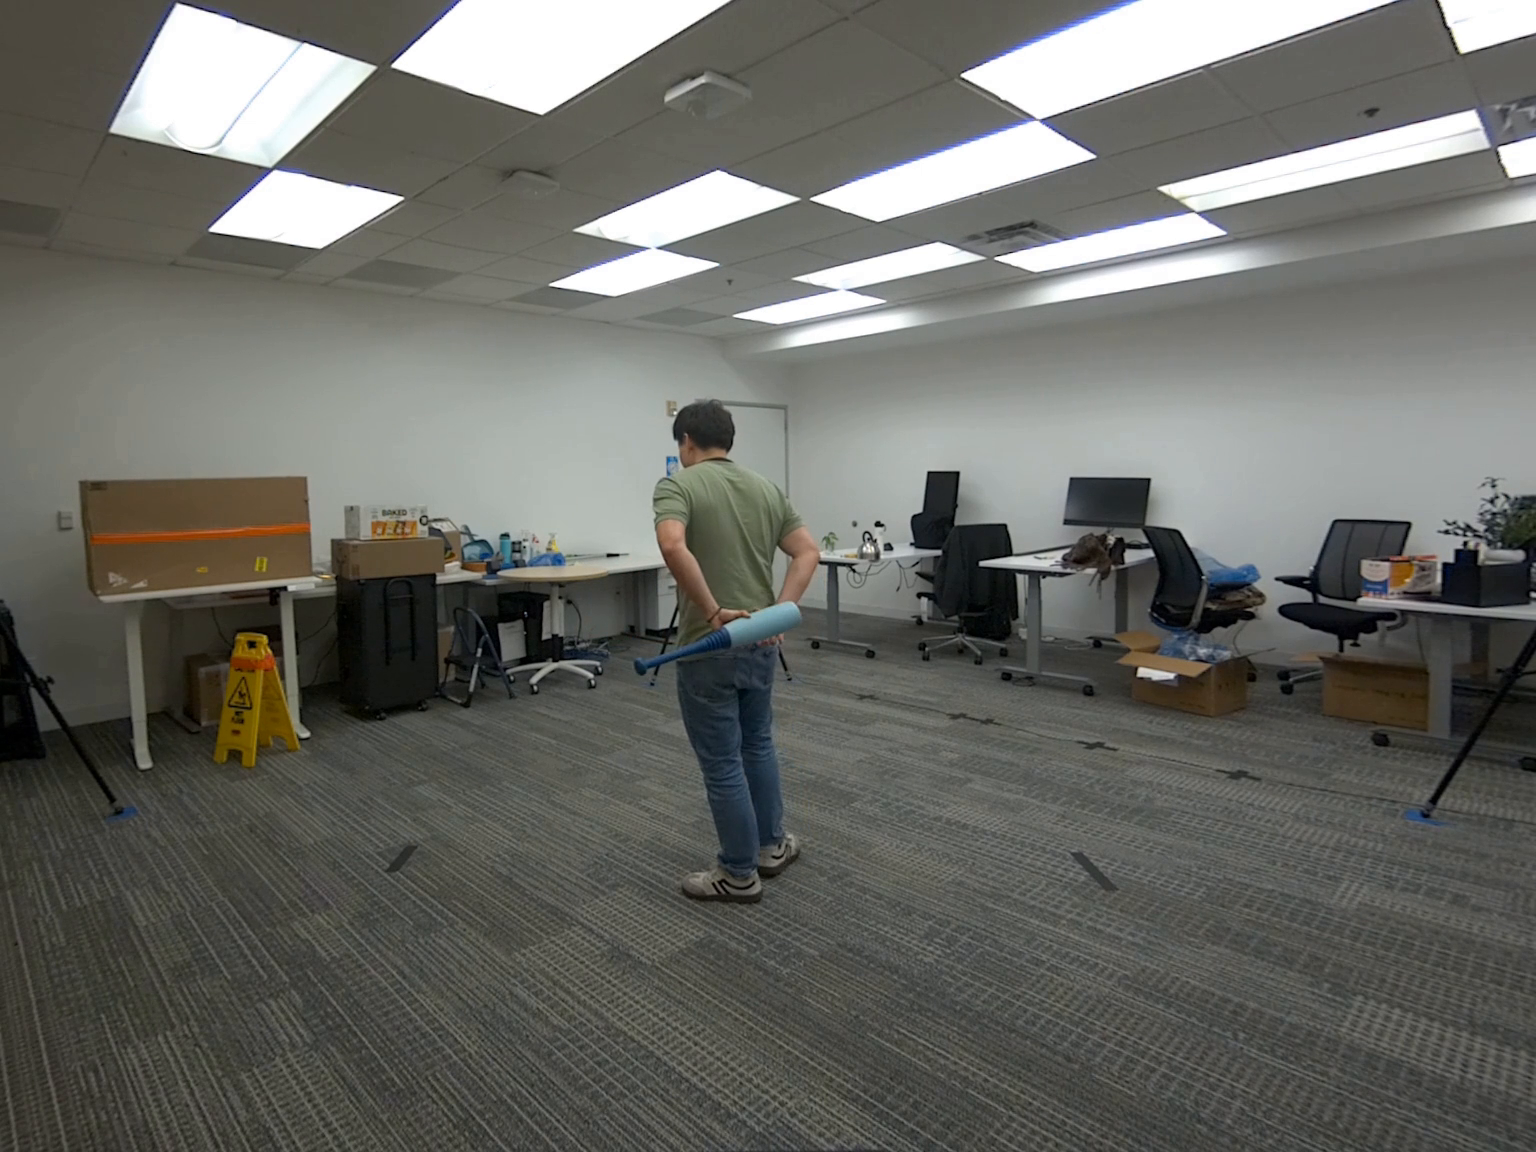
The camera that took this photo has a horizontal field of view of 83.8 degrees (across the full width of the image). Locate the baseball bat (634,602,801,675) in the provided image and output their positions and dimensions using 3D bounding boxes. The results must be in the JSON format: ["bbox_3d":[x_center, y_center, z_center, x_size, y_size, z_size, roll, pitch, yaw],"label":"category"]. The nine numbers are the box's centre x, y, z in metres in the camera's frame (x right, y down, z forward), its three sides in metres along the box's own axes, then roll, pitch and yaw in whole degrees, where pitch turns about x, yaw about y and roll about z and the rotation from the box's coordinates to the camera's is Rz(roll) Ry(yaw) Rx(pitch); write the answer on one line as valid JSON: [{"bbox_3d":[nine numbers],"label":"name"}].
[{"bbox_3d":[-0.143,0.200,2.511,0.535,0.088,0.091,-18,12,-25],"label":"baseball bat"}]
